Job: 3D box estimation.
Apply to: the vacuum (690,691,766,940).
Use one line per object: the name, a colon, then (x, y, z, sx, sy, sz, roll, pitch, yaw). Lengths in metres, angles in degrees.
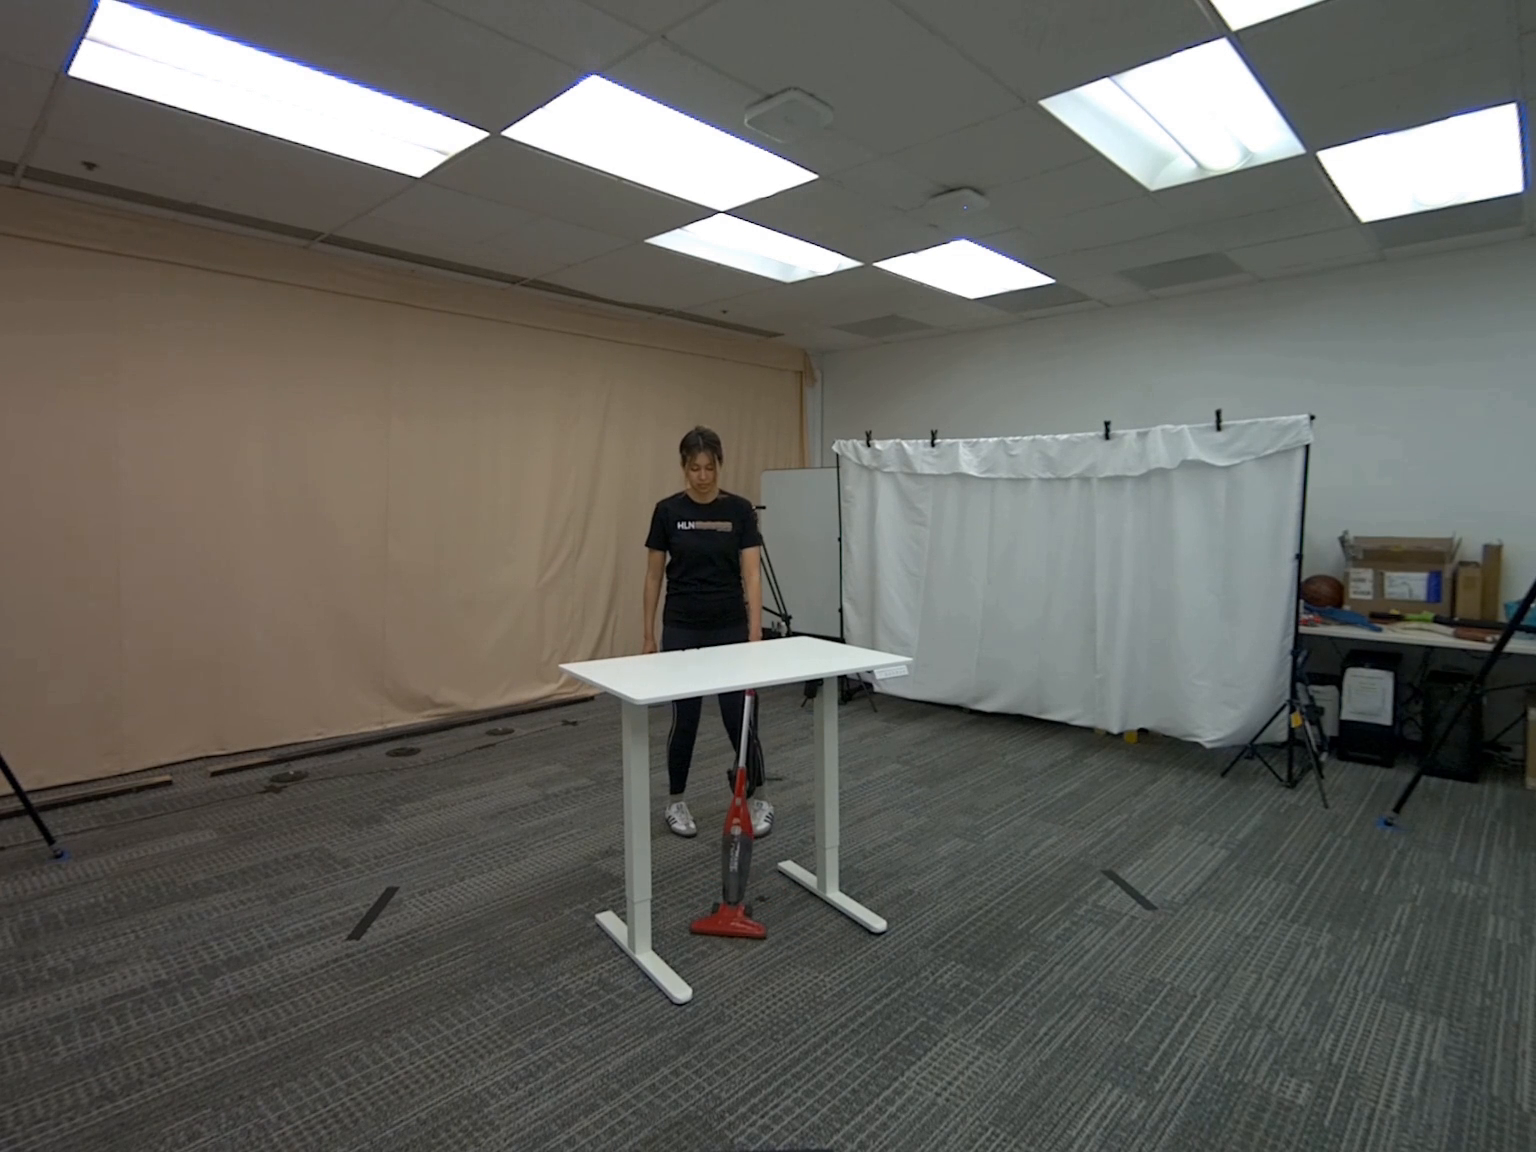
vacuum: (-0.079, 0.730, 3.109, 0.254, 1.064, 0.141, 3, -39, 4)
